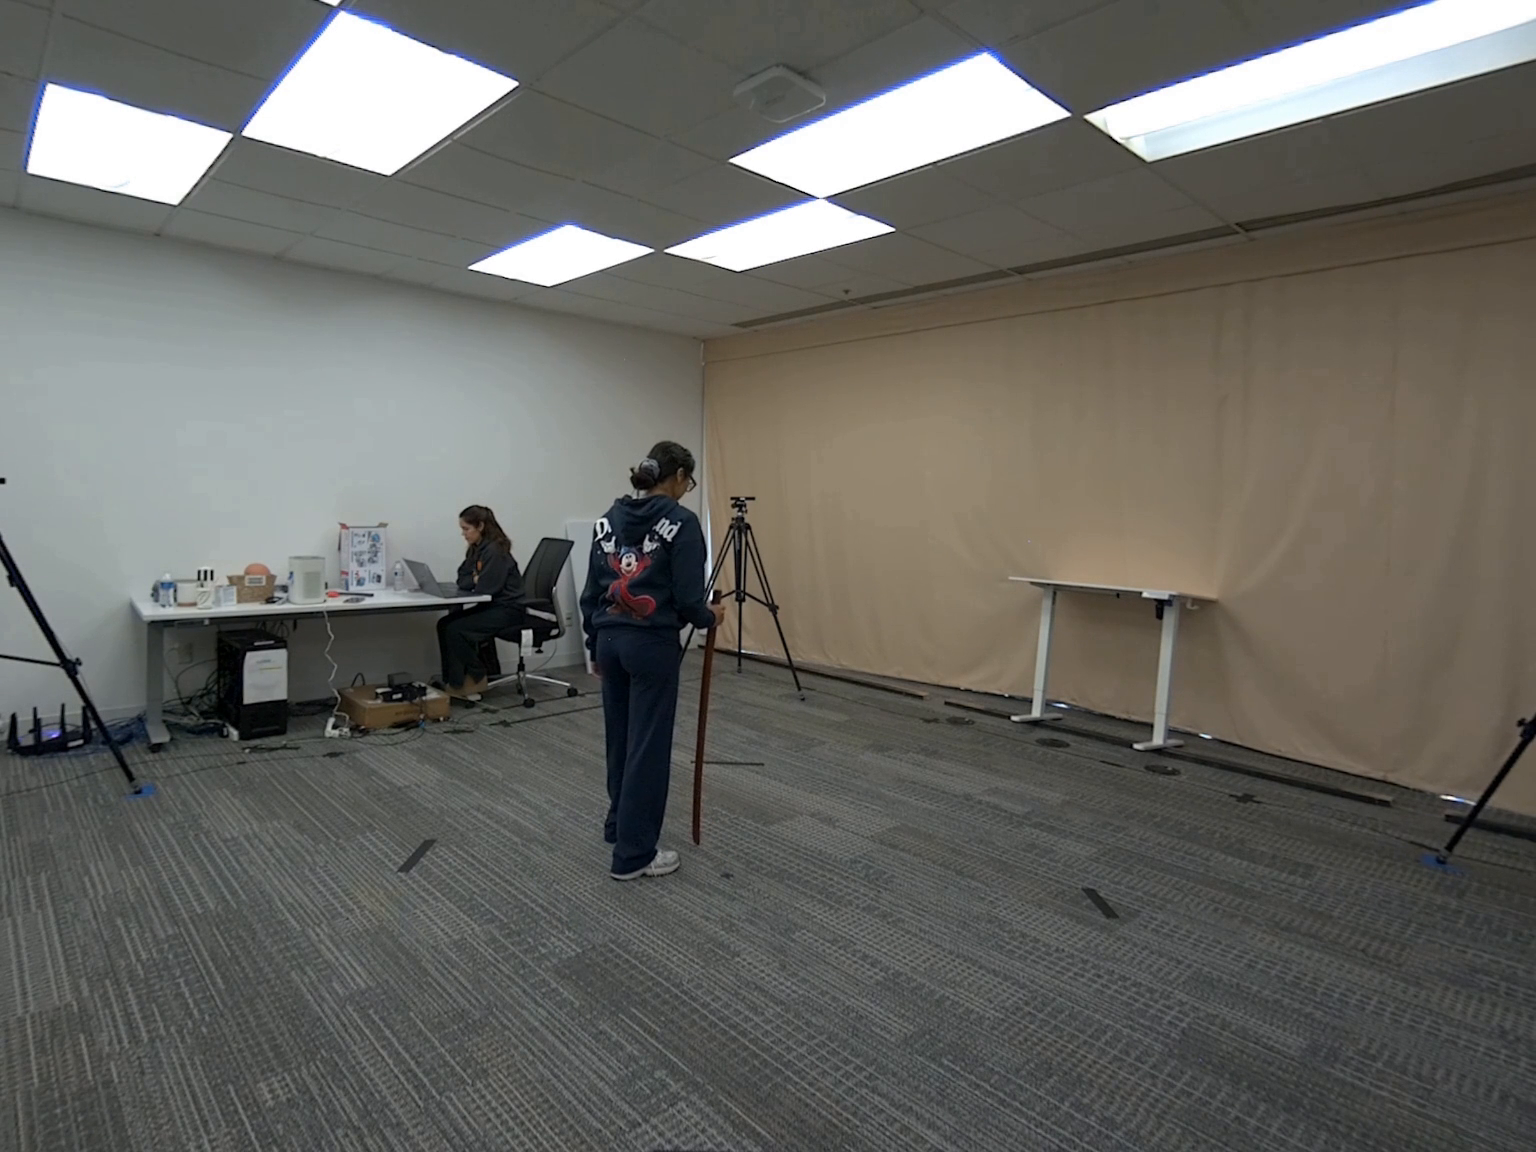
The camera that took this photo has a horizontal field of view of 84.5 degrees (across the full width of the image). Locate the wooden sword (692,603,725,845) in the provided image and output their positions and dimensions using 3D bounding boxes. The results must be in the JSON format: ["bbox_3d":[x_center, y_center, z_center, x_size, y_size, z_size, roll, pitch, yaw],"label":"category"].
[{"bbox_3d":[-0.266,0.589,3.361,0.025,1.024,0.050,6,1,38],"label":"wooden sword"}]
